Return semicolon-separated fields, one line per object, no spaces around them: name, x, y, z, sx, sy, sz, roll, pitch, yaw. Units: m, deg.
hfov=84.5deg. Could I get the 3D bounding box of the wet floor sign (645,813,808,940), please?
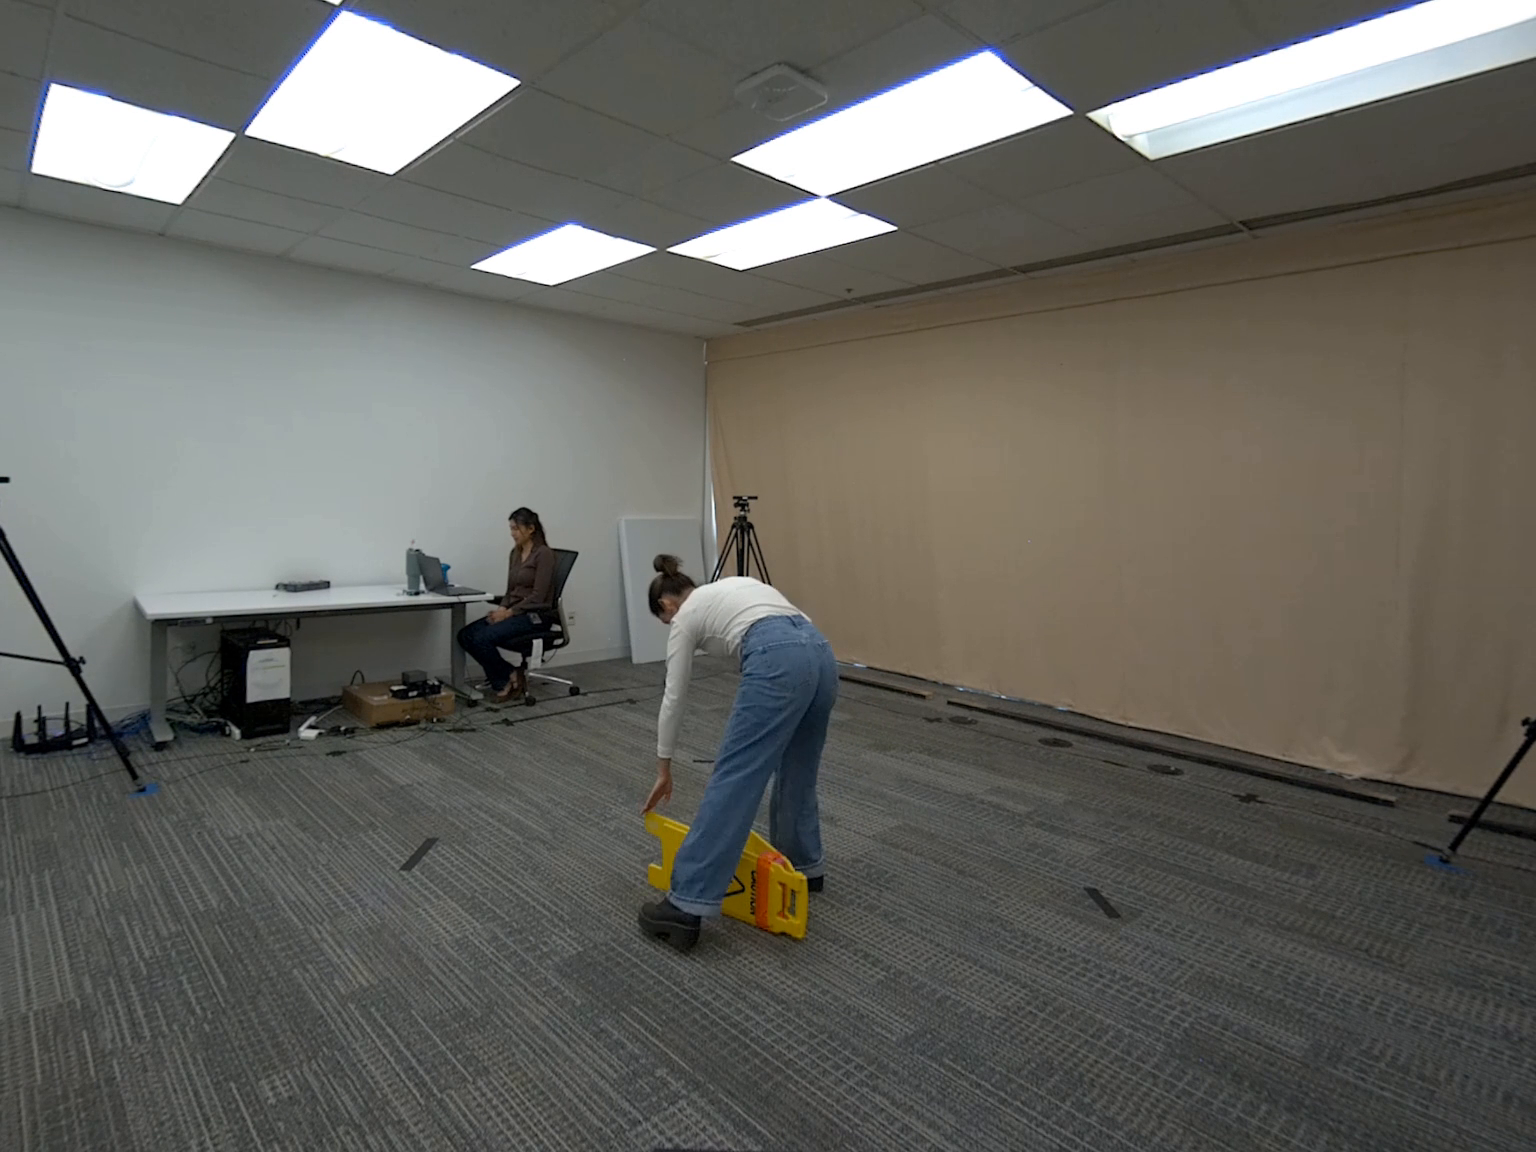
wet floor sign;-0.113;0.996;2.852;0.283;0.281;0.663;-6;10;-42
